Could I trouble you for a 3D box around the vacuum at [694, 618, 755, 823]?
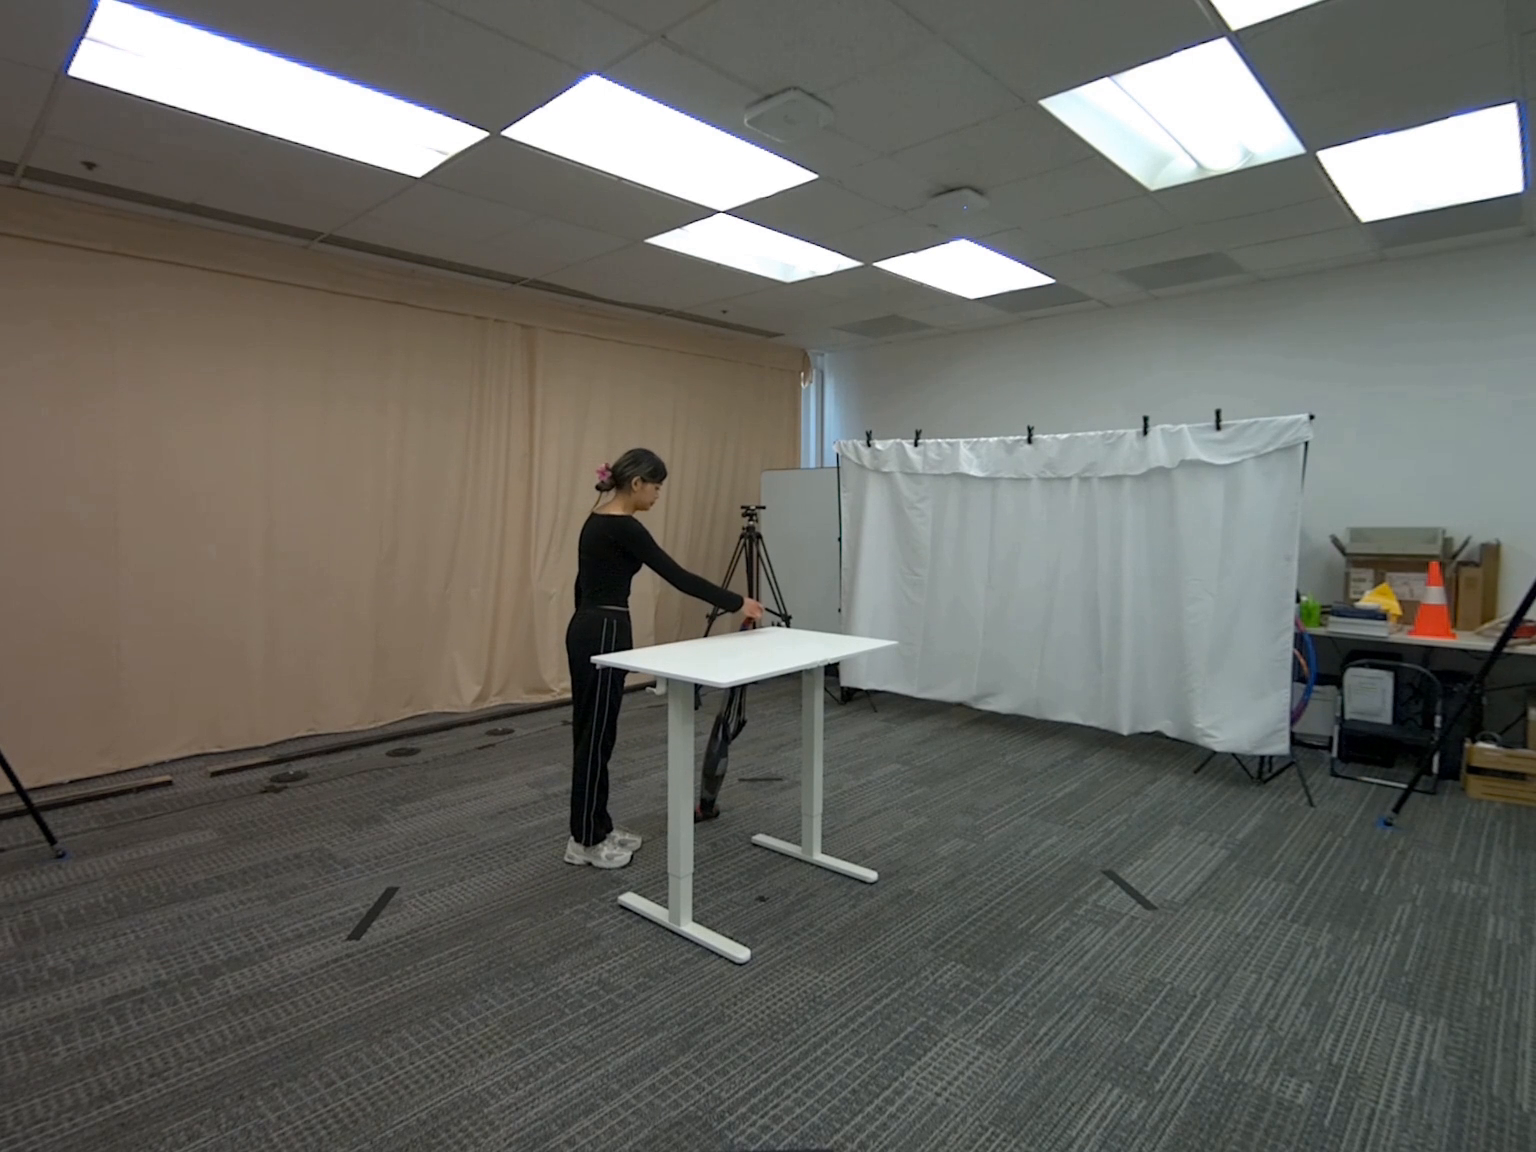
[{"bbox_3d":[-0.174,0.613,3.602,0.245,1.043,0.149,0,26,-38],"label":"vacuum"}]
